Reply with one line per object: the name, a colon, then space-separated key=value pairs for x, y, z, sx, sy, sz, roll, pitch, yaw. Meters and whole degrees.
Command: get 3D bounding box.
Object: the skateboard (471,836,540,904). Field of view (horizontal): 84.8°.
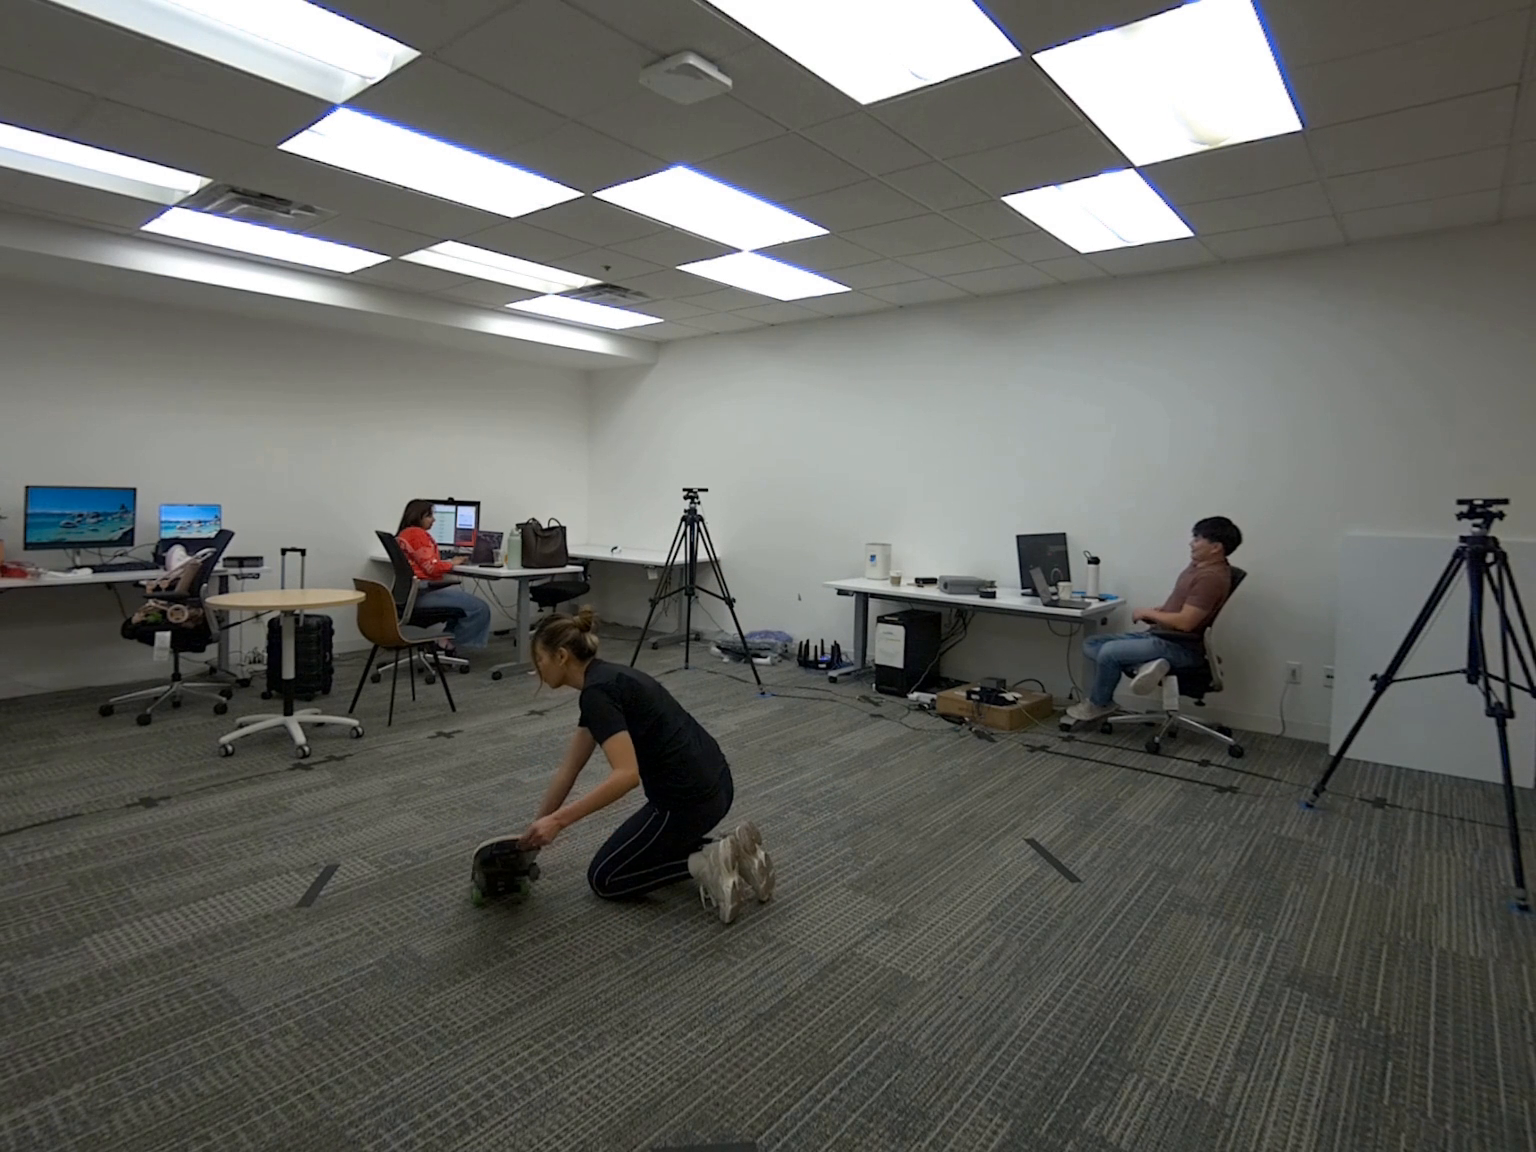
skateboard: x=-0.851 y=0.940 z=2.684 sx=0.190 sy=0.113 sz=0.780 roll=0 pitch=-26 yaw=-20
